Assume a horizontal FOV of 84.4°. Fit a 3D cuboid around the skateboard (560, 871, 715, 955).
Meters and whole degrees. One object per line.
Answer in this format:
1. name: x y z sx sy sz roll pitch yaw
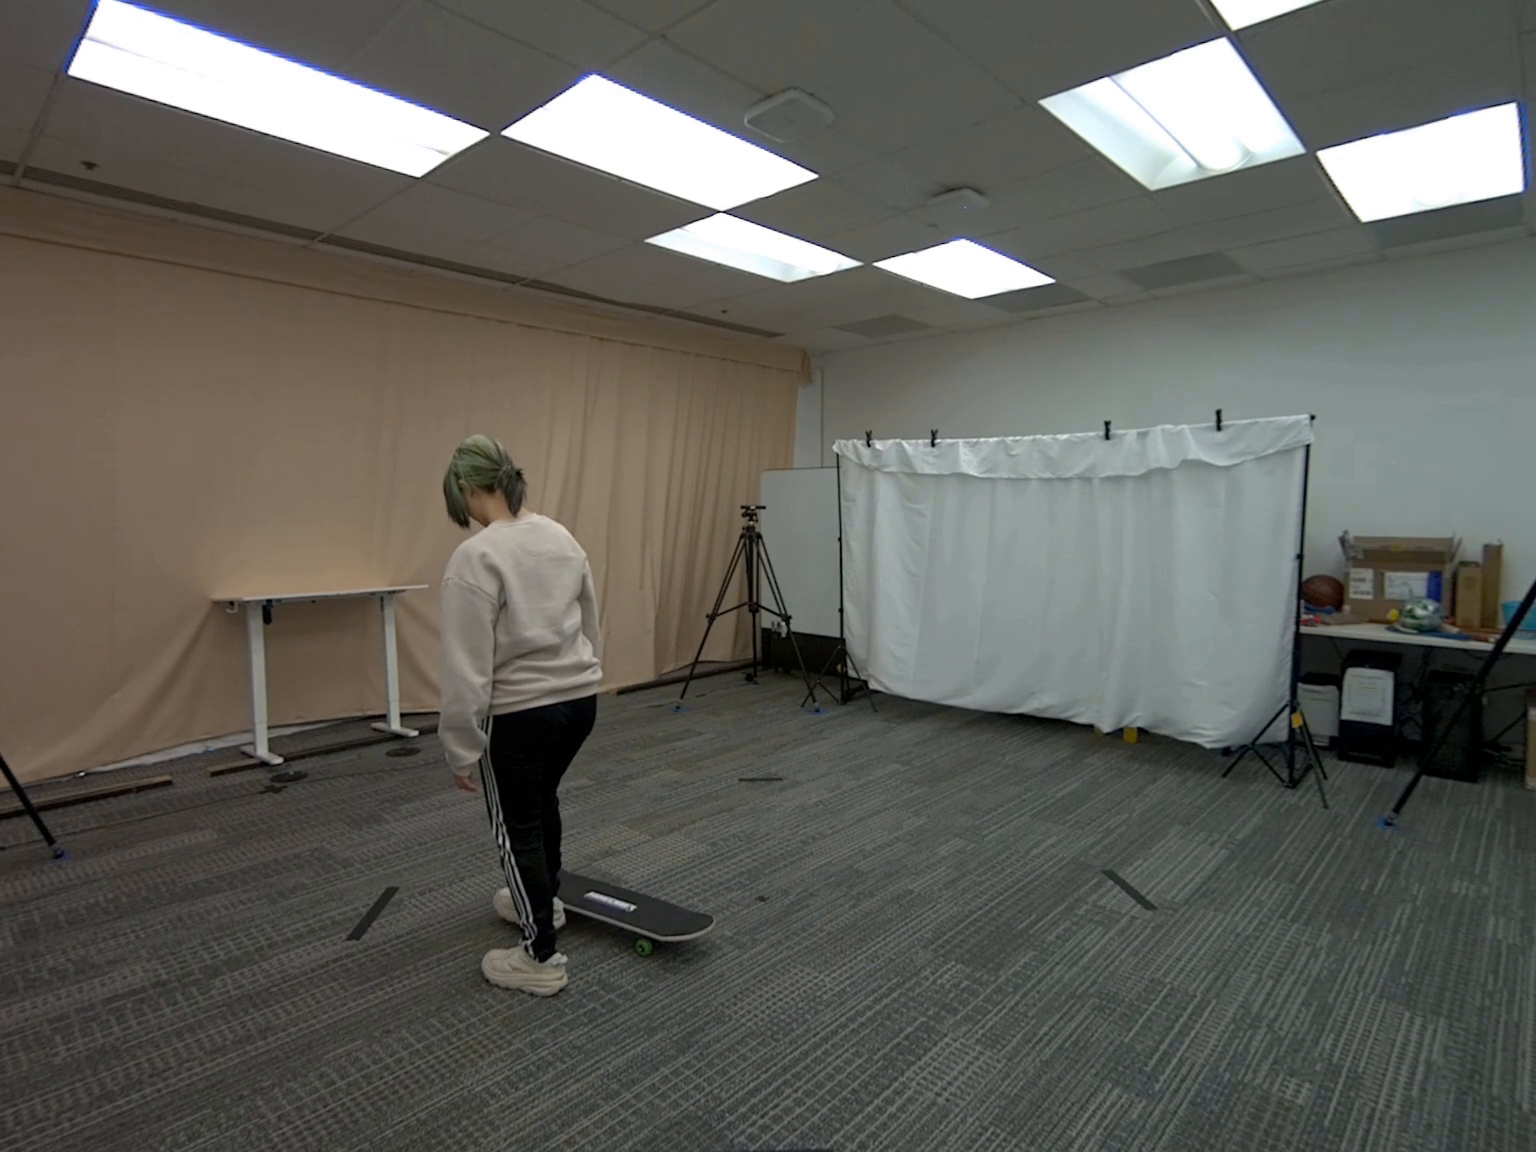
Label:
1. skateboard: -0.517 1.104 2.777 0.809 0.110 0.188 2 5 32
